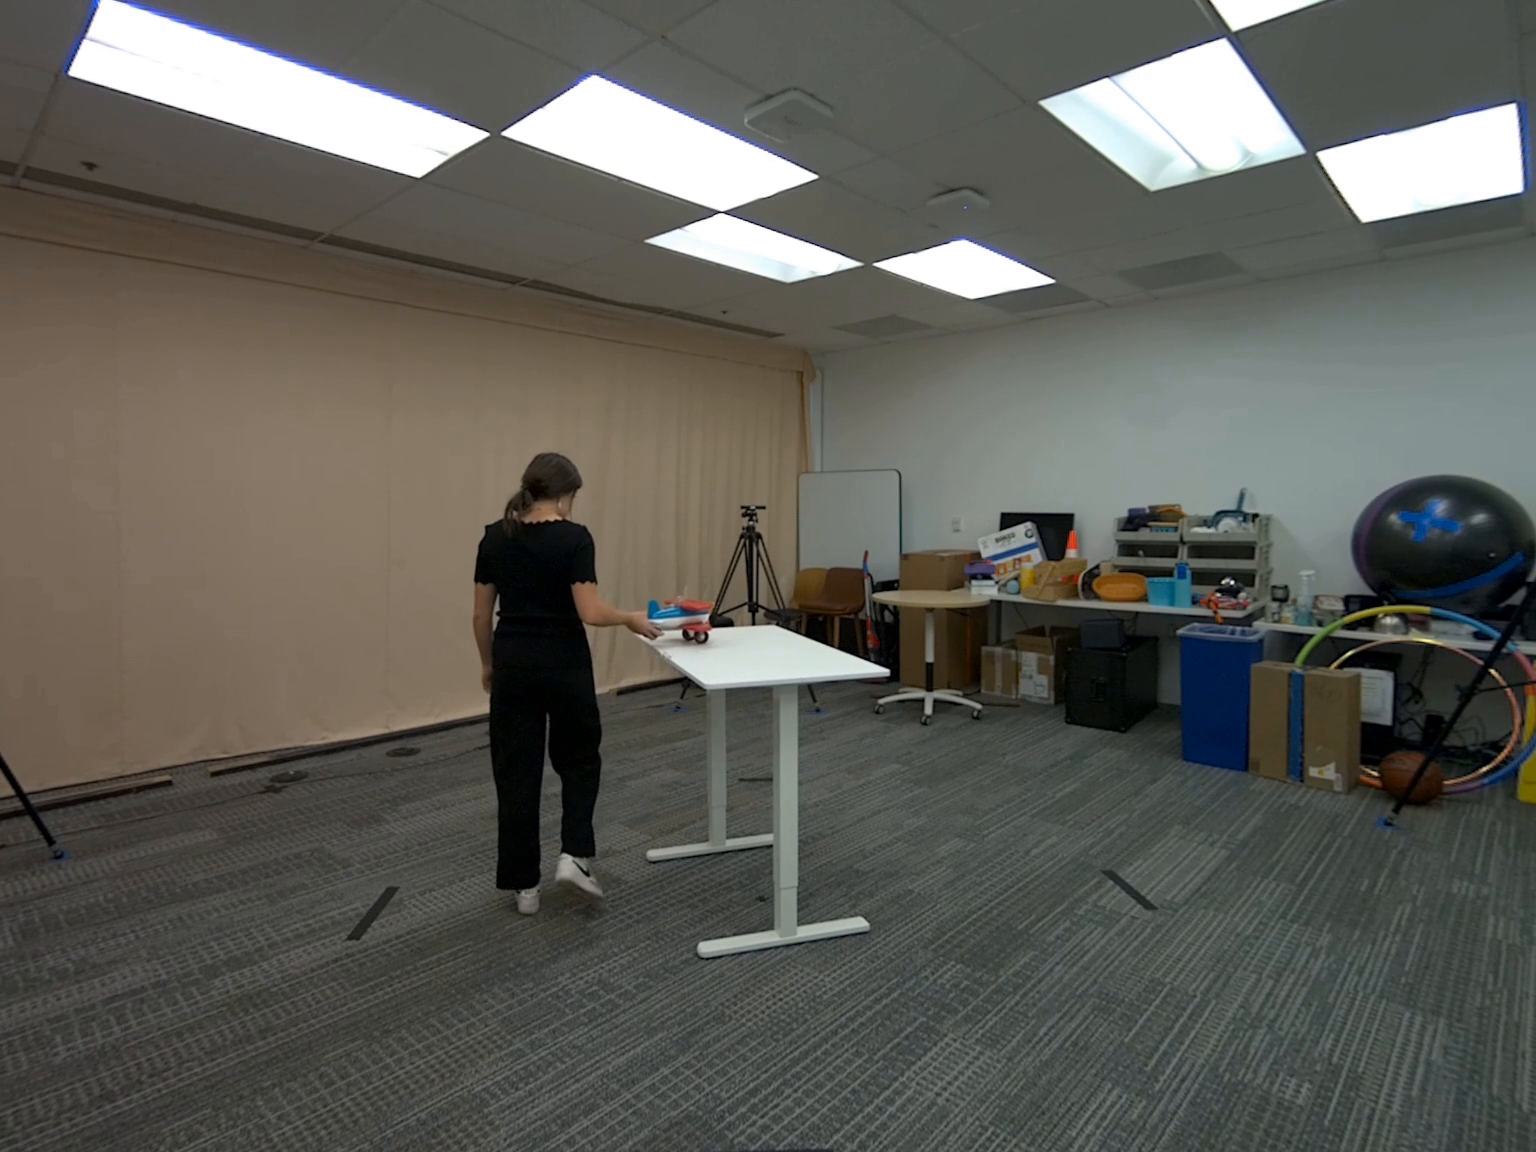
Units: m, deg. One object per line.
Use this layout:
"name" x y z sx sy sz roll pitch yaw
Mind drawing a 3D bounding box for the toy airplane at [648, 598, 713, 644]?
"toy airplane" -0.314 0.160 3.094 0.258 0.157 0.251 8 -4 27
